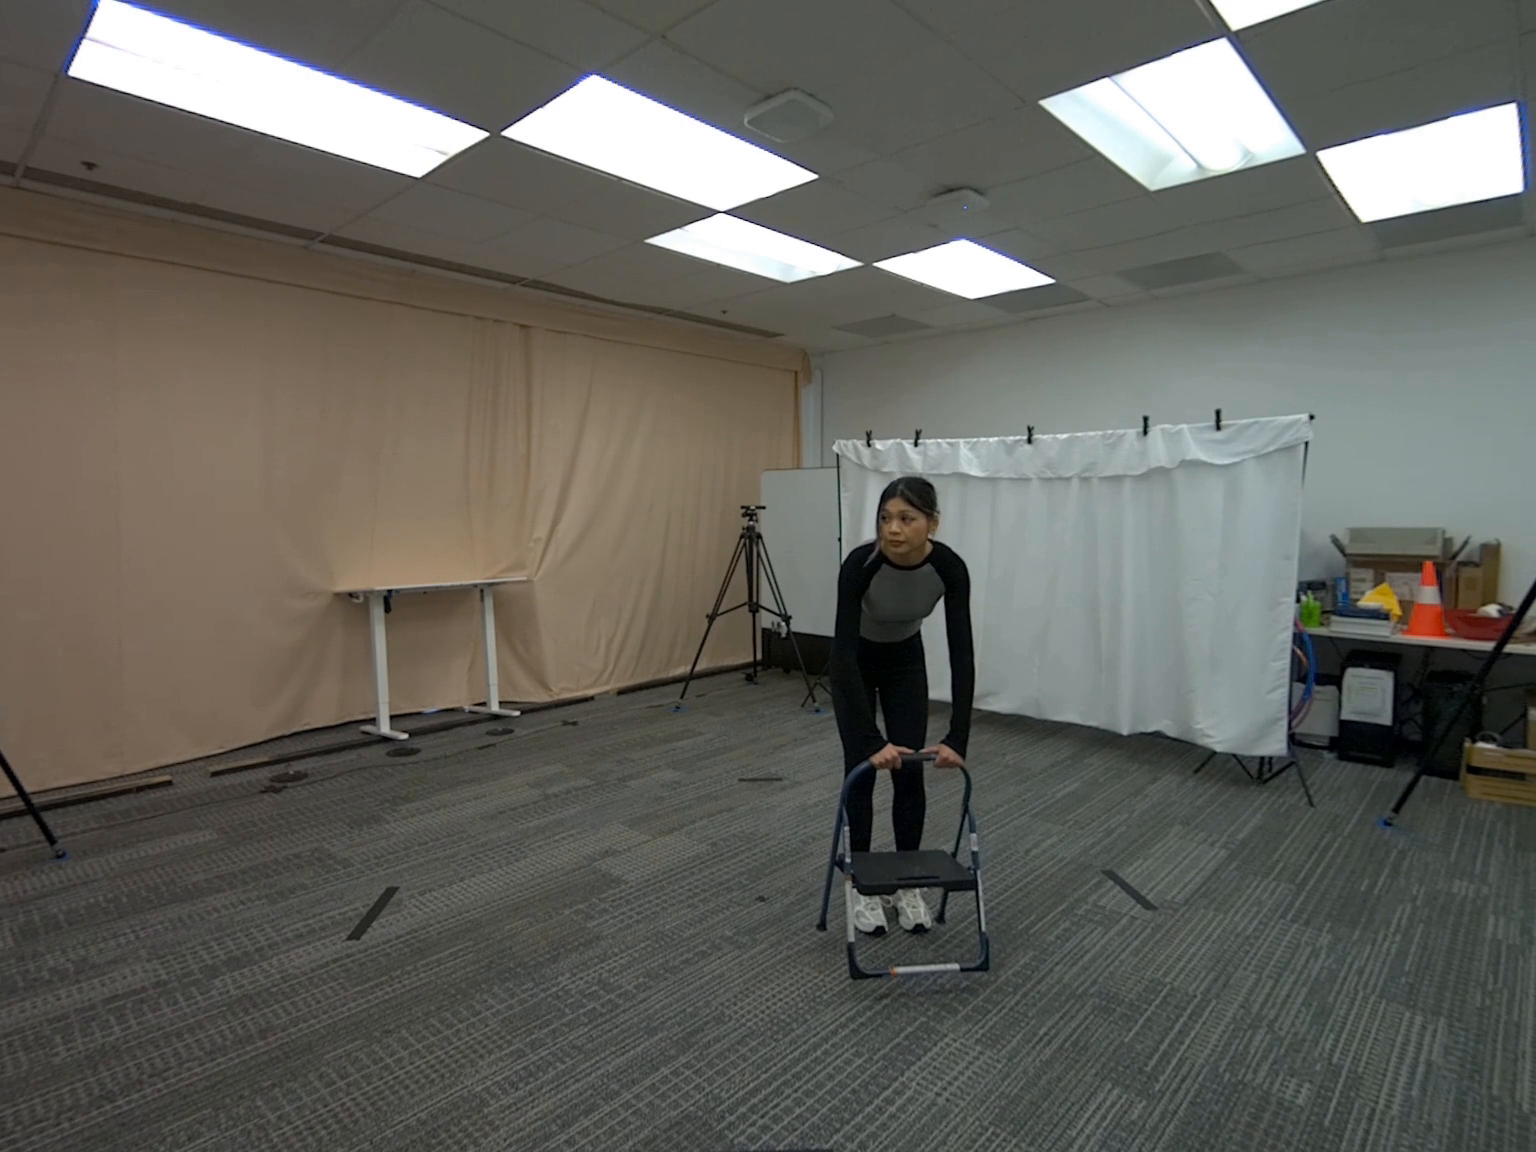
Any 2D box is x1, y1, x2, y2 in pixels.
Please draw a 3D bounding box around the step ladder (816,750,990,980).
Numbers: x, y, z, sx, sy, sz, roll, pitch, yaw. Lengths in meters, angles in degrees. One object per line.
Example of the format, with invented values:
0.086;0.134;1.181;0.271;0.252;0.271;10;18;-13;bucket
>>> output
0.403;0.818;2.531;0.426;0.606;0.353;1;1;-11;step ladder
